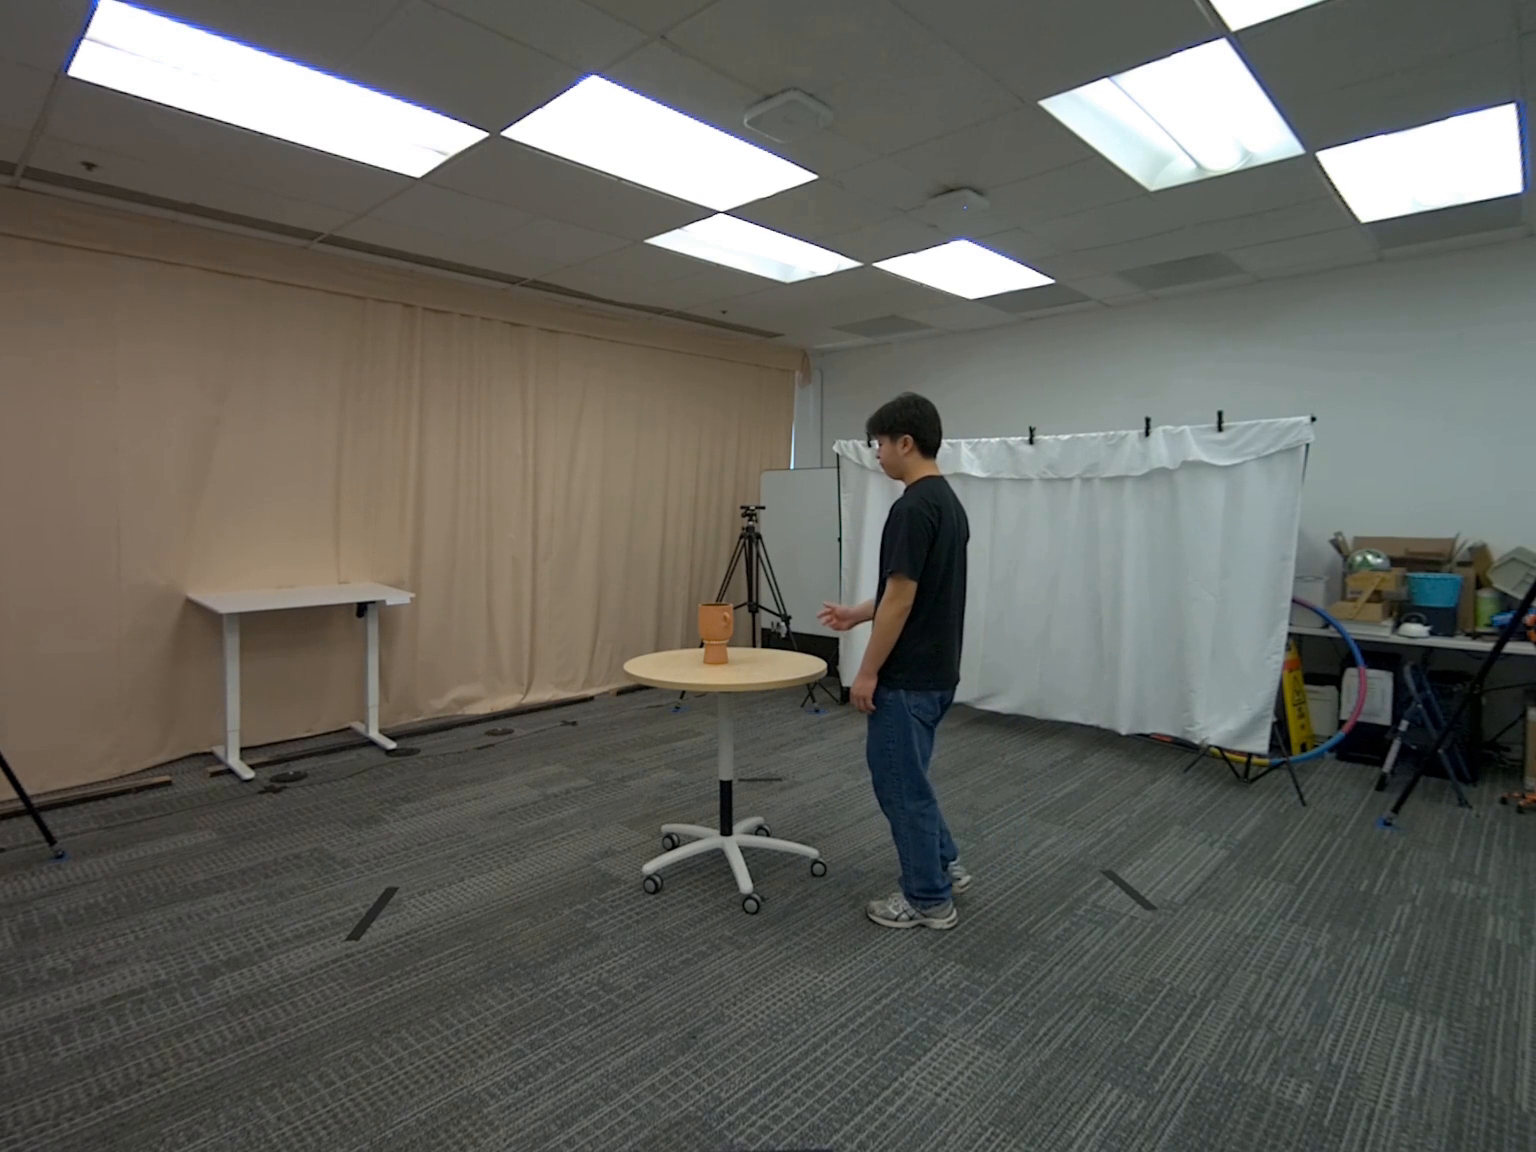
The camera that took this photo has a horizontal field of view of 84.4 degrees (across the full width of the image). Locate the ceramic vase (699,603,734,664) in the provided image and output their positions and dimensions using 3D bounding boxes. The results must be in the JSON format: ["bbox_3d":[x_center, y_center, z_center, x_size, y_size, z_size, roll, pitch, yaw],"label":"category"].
[{"bbox_3d":[-0.198,0.222,3.214,0.136,0.219,0.157,0,3,8],"label":"ceramic vase"}]
